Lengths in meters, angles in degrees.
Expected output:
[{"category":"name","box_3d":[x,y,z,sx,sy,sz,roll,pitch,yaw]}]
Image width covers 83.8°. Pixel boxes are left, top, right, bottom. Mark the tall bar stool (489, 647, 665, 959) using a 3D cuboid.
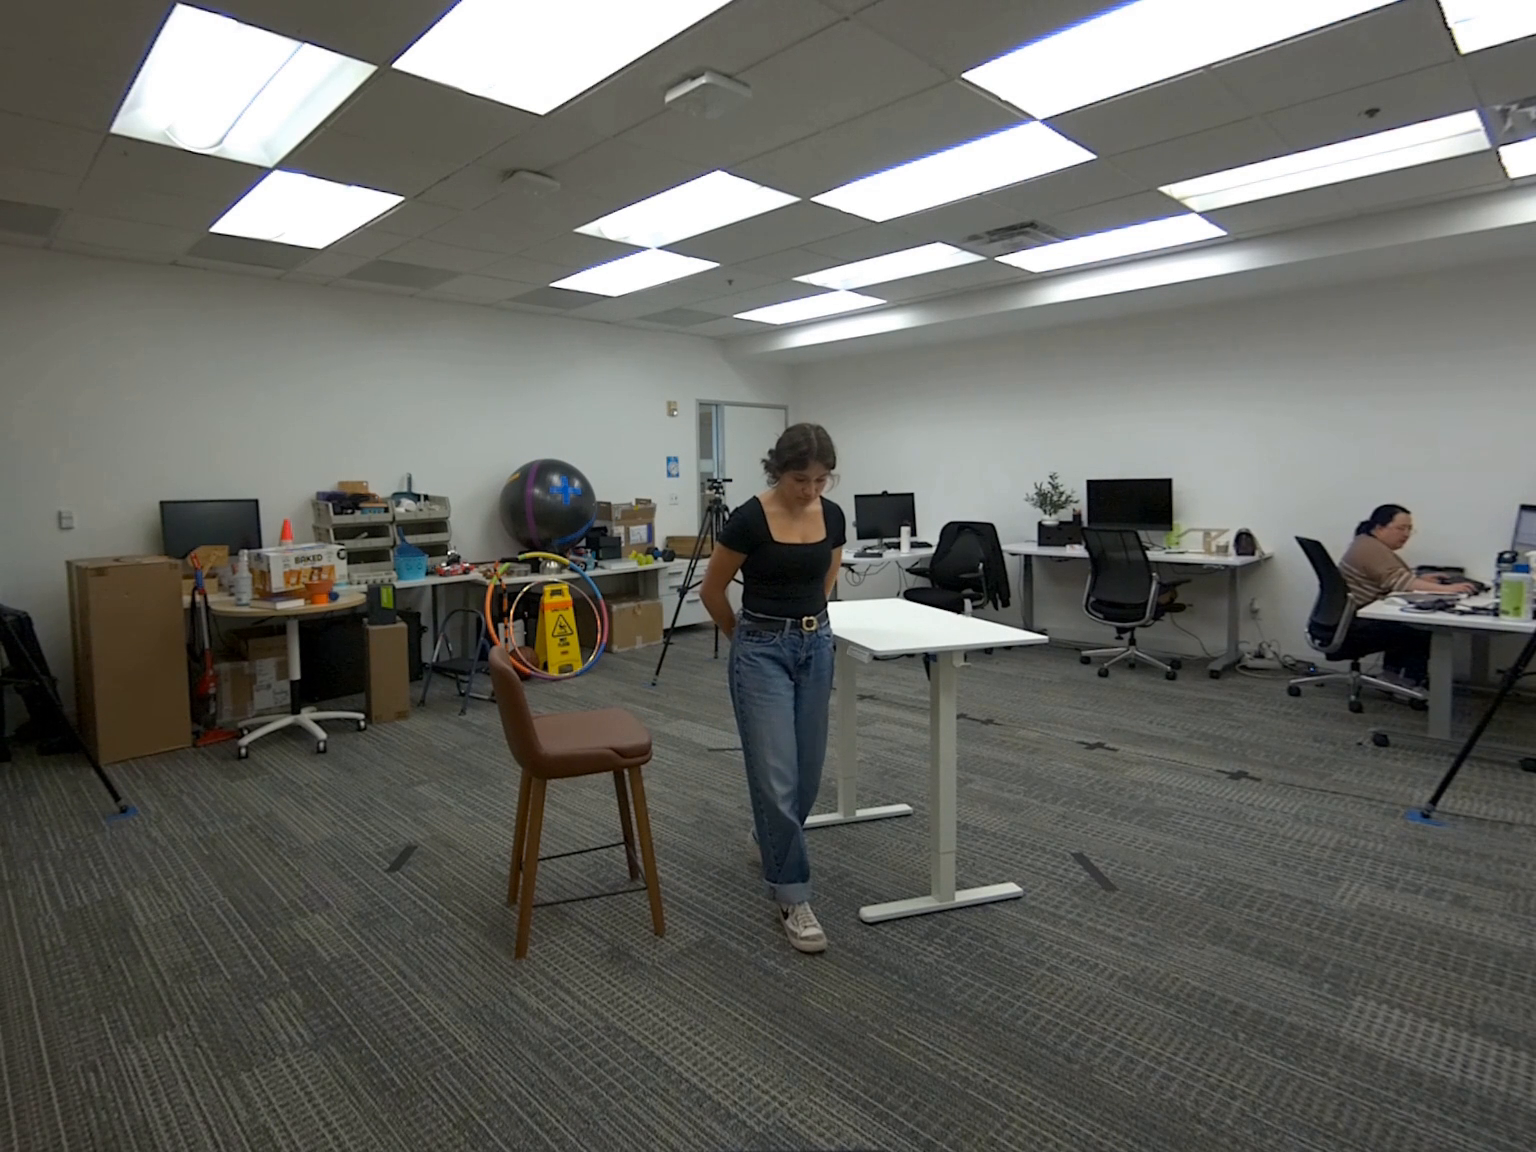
[{"category":"tall bar stool","box_3d":[-0.604,0.664,2.721,0.460,0.886,0.466,-4,5,-20]}]
